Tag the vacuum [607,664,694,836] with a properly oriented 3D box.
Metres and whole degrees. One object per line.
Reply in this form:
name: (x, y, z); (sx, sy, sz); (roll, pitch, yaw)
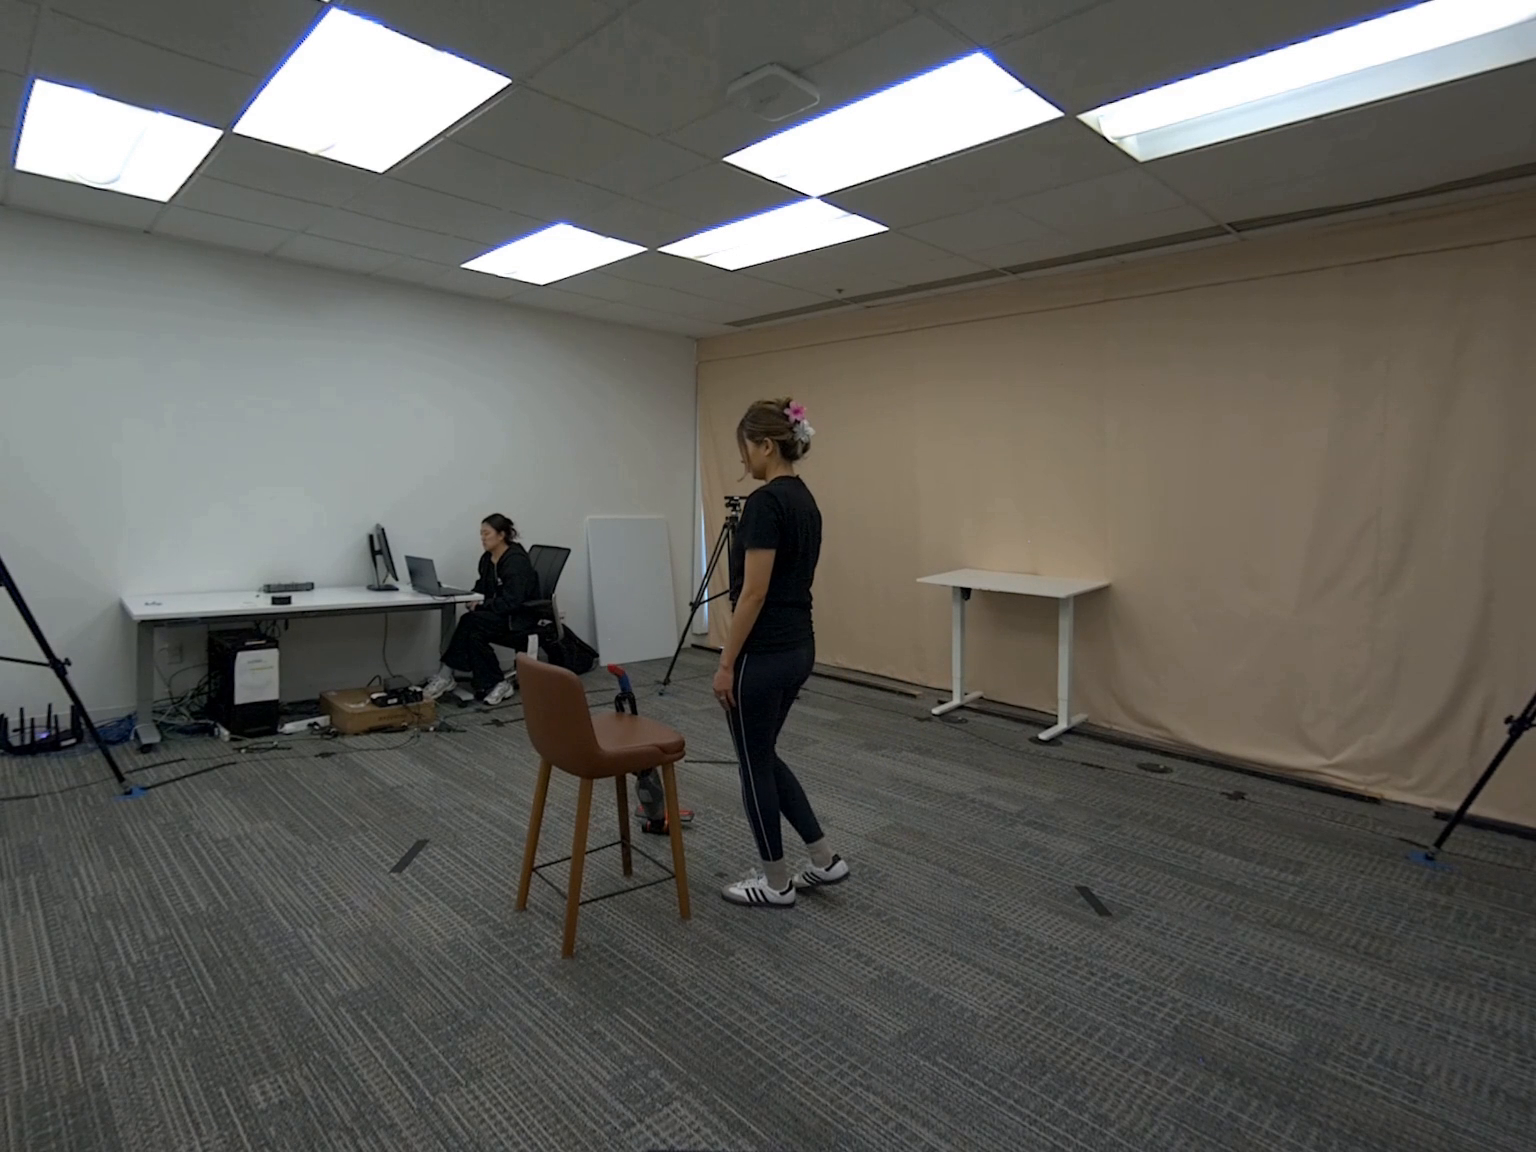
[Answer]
vacuum: (-0.495, 0.679, 3.190); (0.255, 1.023, 0.146); (2, 44, 10)
